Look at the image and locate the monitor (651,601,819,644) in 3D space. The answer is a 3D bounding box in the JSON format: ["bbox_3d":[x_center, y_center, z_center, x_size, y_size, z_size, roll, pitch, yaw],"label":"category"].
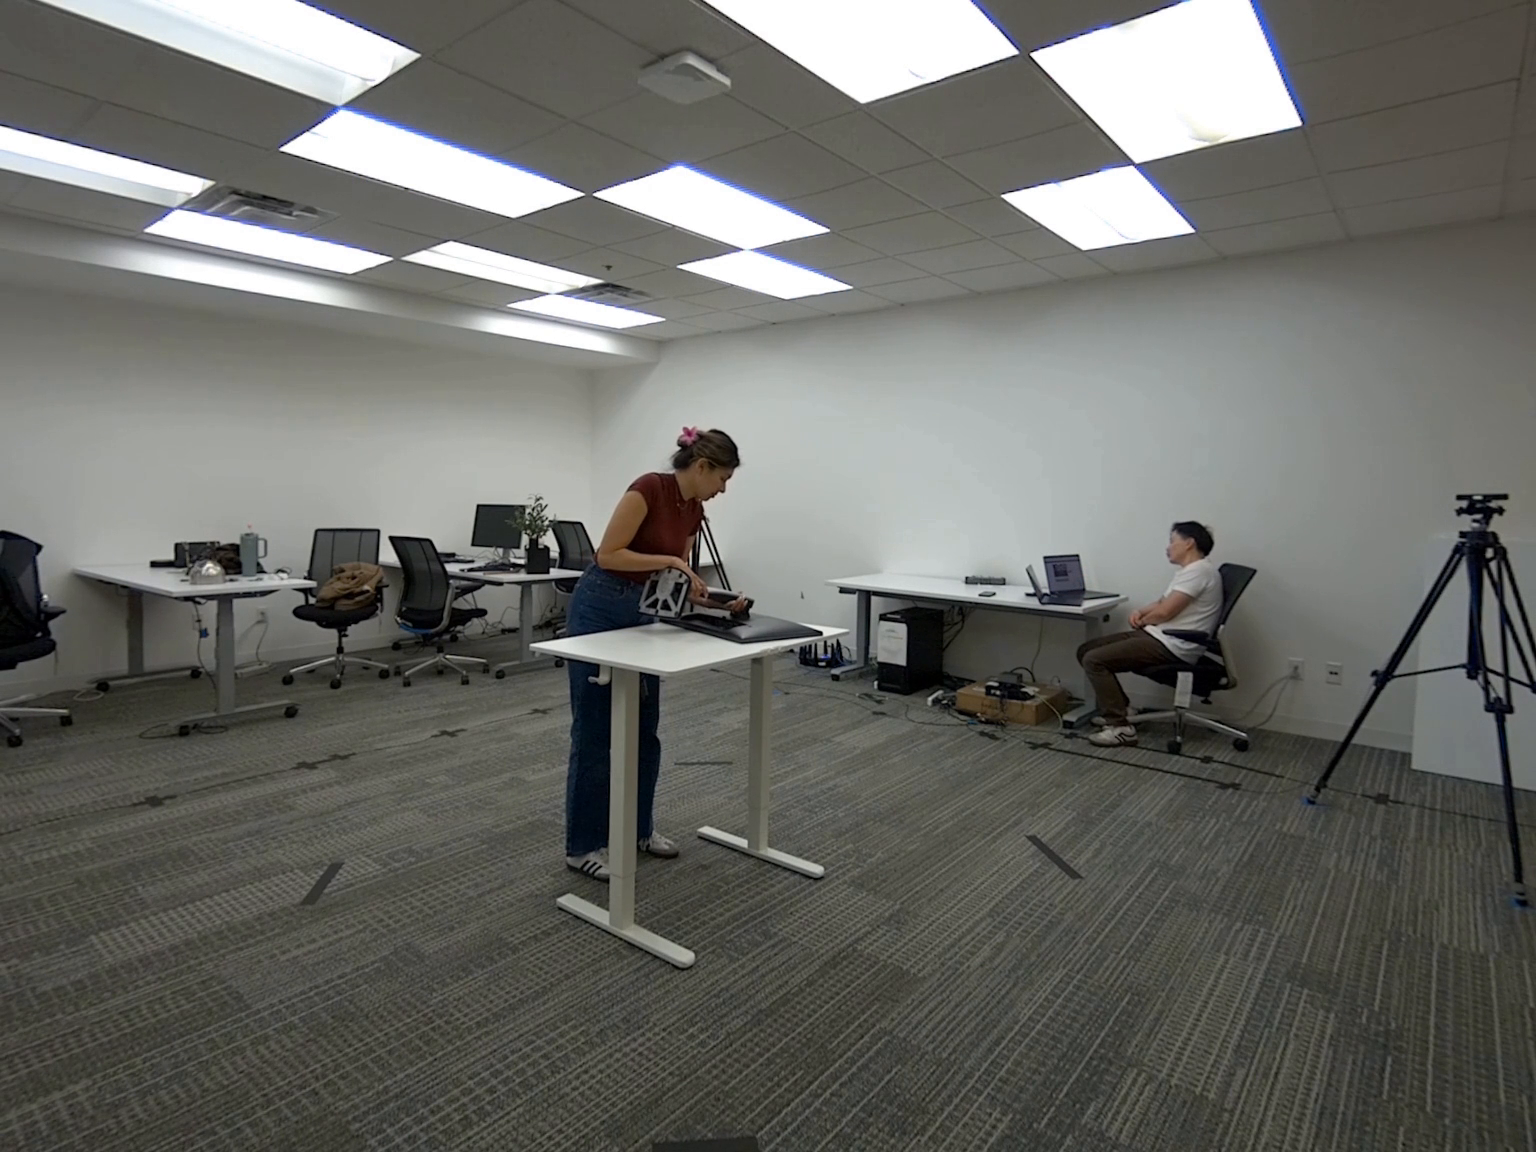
[{"bbox_3d":[-0.177,0.120,3.044,0.504,0.188,0.557,17,-5,-36],"label":"monitor"}]
